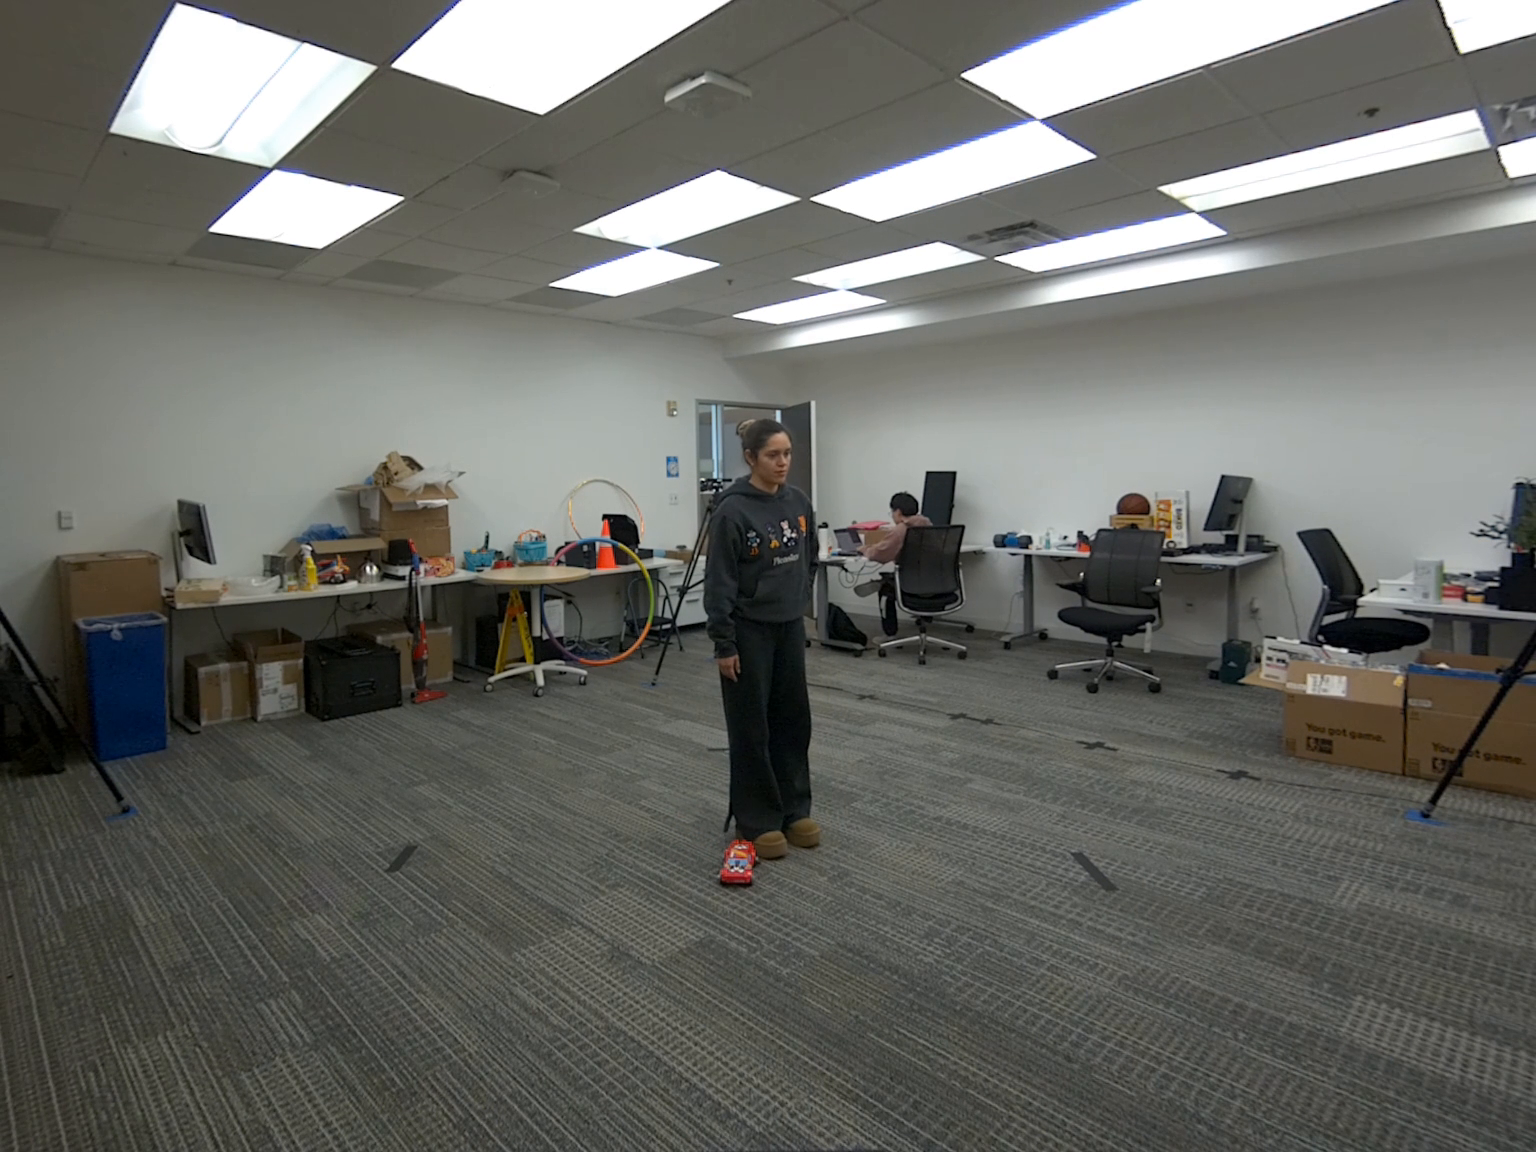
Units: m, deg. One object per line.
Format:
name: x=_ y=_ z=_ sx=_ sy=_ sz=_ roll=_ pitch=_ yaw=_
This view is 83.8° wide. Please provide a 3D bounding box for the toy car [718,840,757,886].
toy car: x=-0.106 y=1.029 z=3.028 sx=0.131 sy=0.082 sz=0.257 roll=0 pitch=18 yaw=3
